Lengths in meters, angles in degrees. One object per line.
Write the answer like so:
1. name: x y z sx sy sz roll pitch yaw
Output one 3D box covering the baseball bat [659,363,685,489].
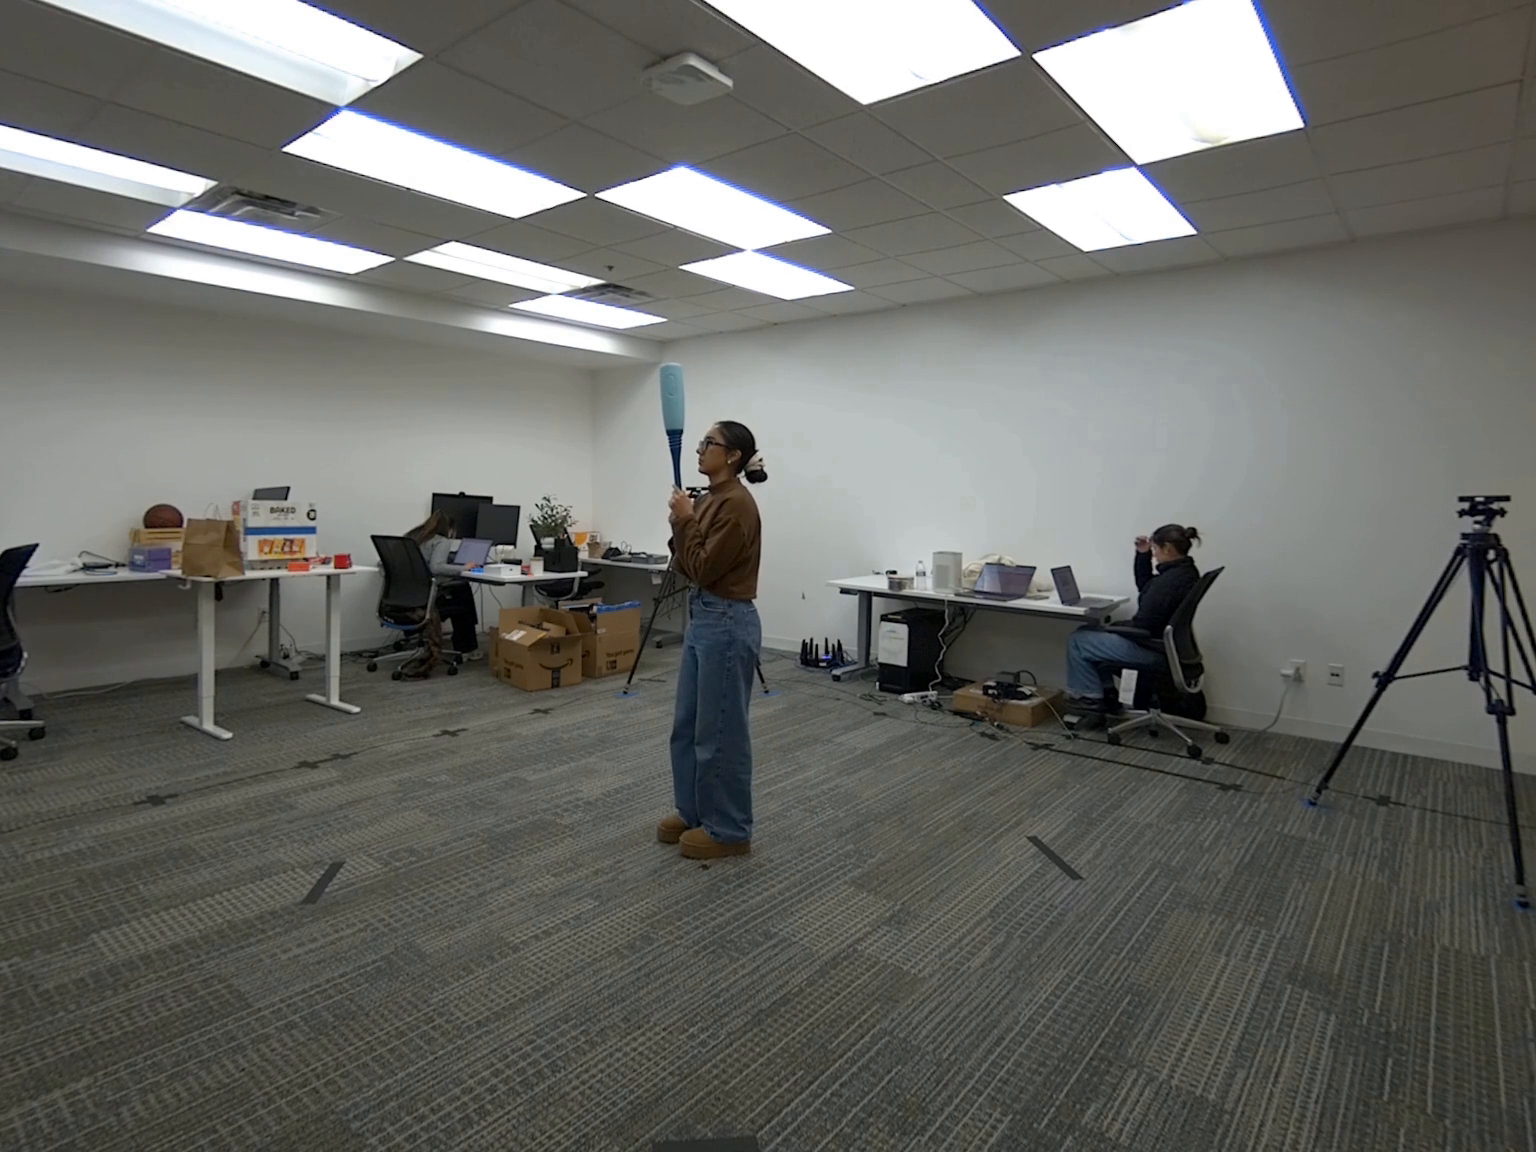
1. baseball bat: -0.364 -0.538 3.214 0.089 0.542 0.089 -4 1 -2
